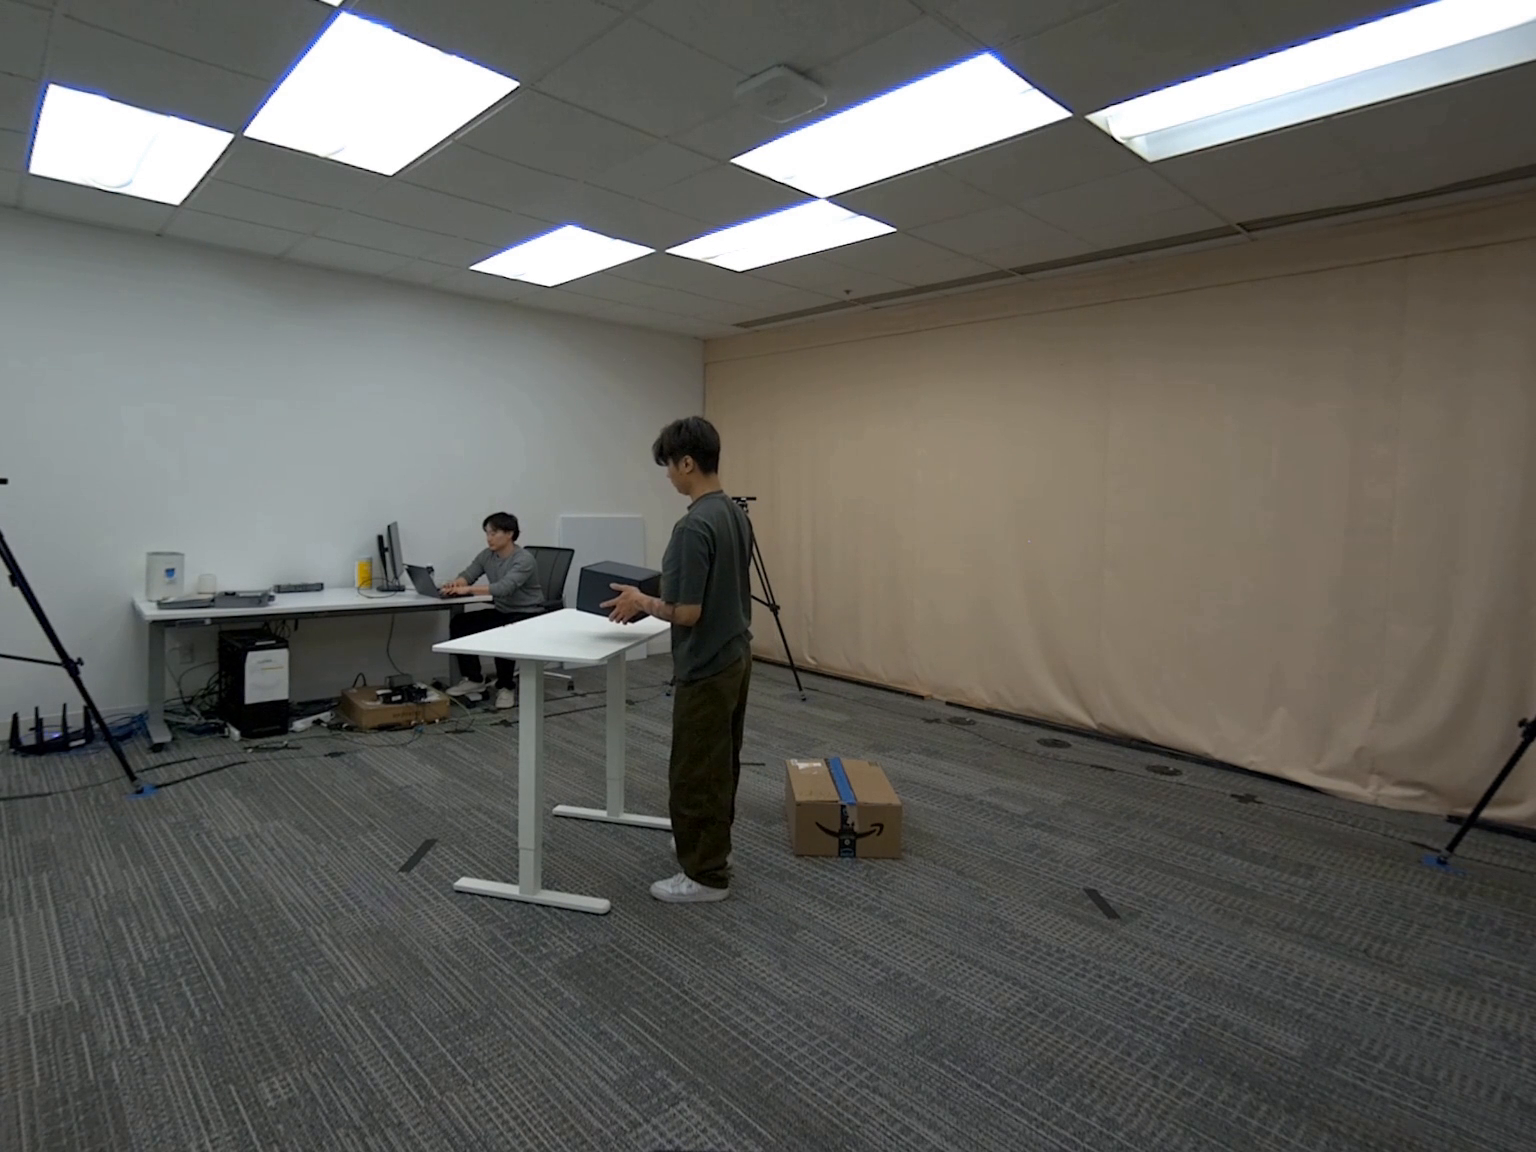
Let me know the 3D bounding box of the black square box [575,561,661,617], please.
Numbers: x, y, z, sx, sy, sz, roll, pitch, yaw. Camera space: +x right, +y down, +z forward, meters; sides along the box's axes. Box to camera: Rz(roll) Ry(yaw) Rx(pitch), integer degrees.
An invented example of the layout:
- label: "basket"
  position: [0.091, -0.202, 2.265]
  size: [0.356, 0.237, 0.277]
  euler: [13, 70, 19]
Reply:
- label: "black square box"
  position: [-0.531, 0.044, 3.025]
  size: [0.231, 0.155, 0.215]
  euler: [10, 7, 14]
